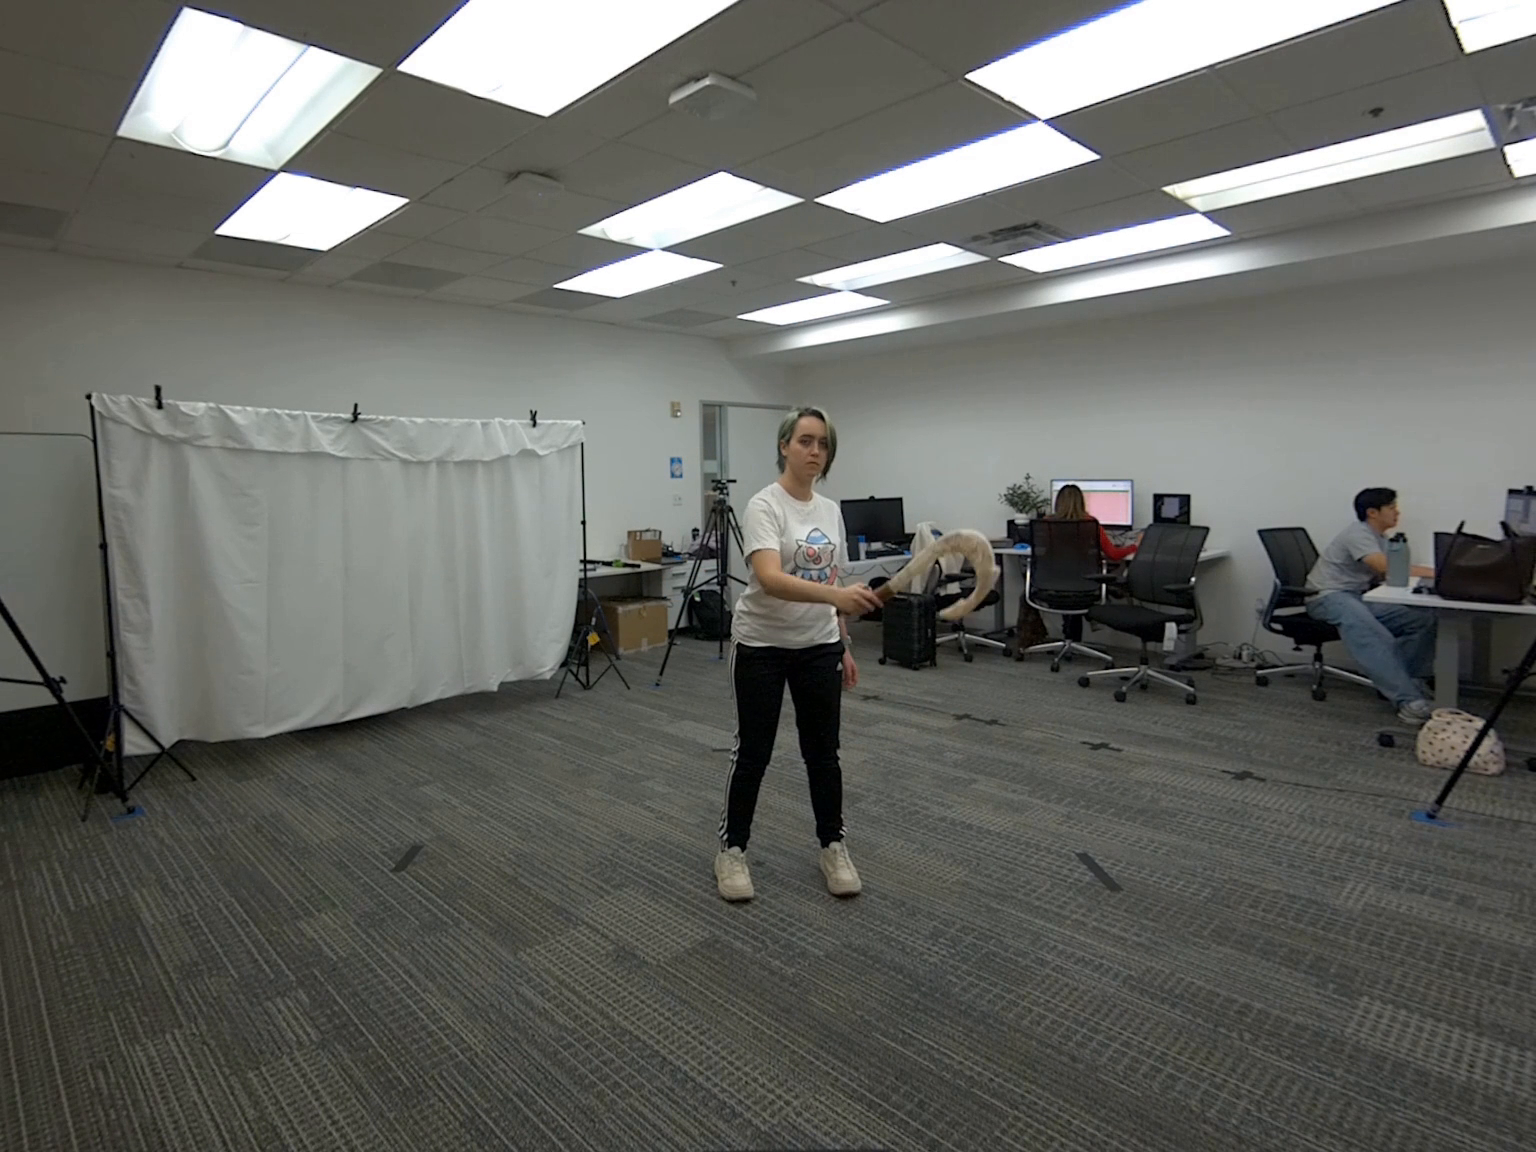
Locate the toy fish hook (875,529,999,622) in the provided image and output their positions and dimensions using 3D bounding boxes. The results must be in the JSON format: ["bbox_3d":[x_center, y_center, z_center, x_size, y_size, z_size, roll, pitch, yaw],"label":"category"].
[{"bbox_3d":[0.392,0.054,2.341,0.511,0.231,0.046,-32,-36,35],"label":"toy fish hook"}]
